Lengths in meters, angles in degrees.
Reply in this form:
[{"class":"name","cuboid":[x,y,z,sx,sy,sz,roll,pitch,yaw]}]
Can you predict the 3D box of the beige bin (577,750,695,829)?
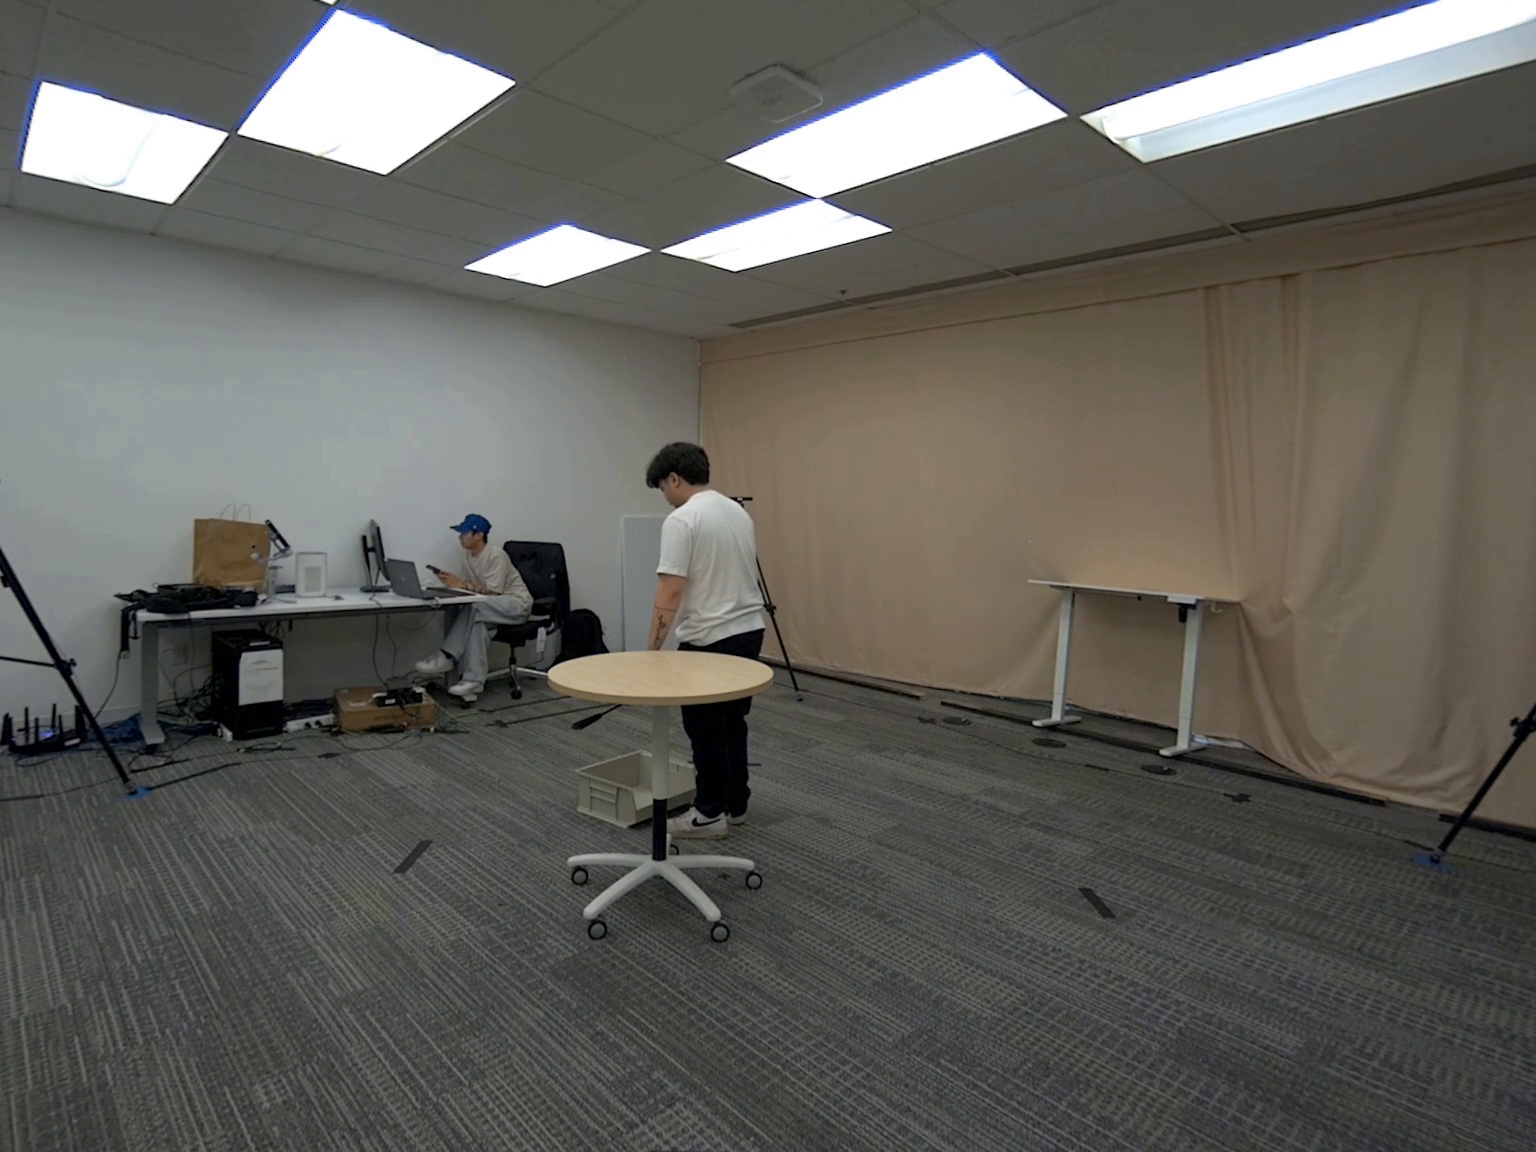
[{"class":"beige bin","cuboid":[-0.582,0.947,3.762,0.386,0.188,0.413,5,6,37]}]
